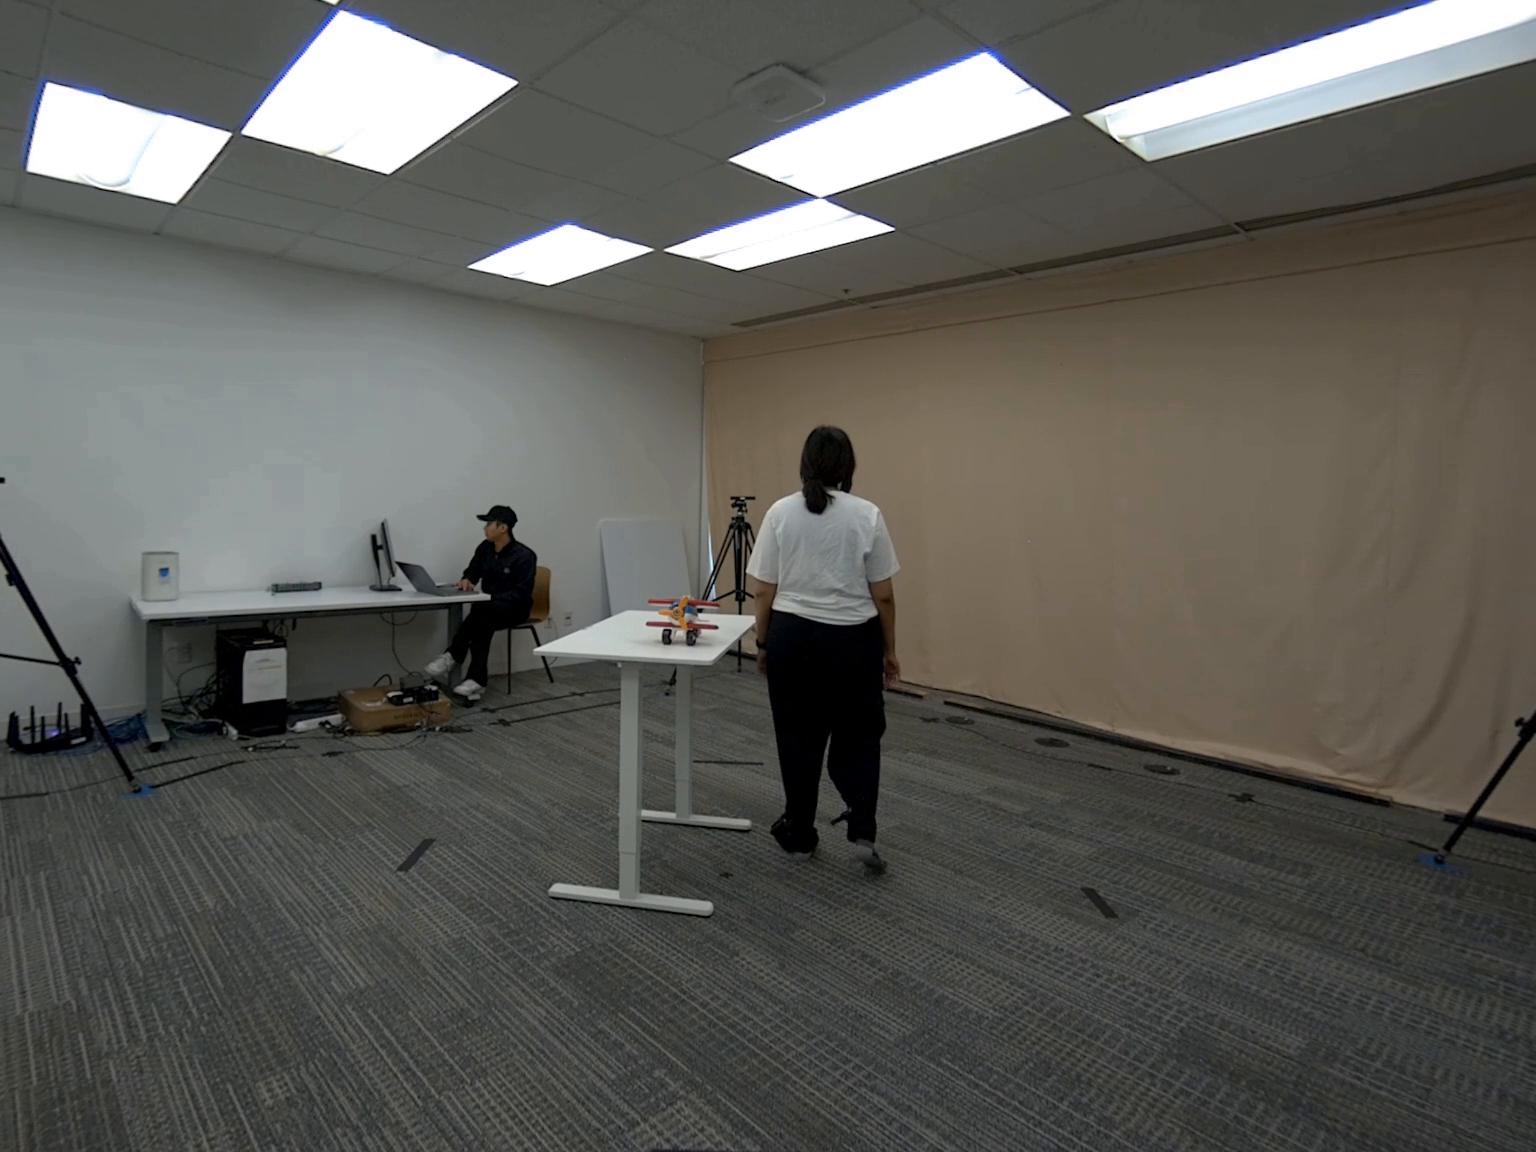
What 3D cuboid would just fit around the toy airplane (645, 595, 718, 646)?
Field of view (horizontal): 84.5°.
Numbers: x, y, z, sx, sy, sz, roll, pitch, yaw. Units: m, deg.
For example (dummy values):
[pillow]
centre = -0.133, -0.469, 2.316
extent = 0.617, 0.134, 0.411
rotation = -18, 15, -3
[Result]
[toy airplane]
centre = -0.316, 0.153, 2.972
extent = 0.247, 0.156, 0.264
rotation = 1, 5, -18
